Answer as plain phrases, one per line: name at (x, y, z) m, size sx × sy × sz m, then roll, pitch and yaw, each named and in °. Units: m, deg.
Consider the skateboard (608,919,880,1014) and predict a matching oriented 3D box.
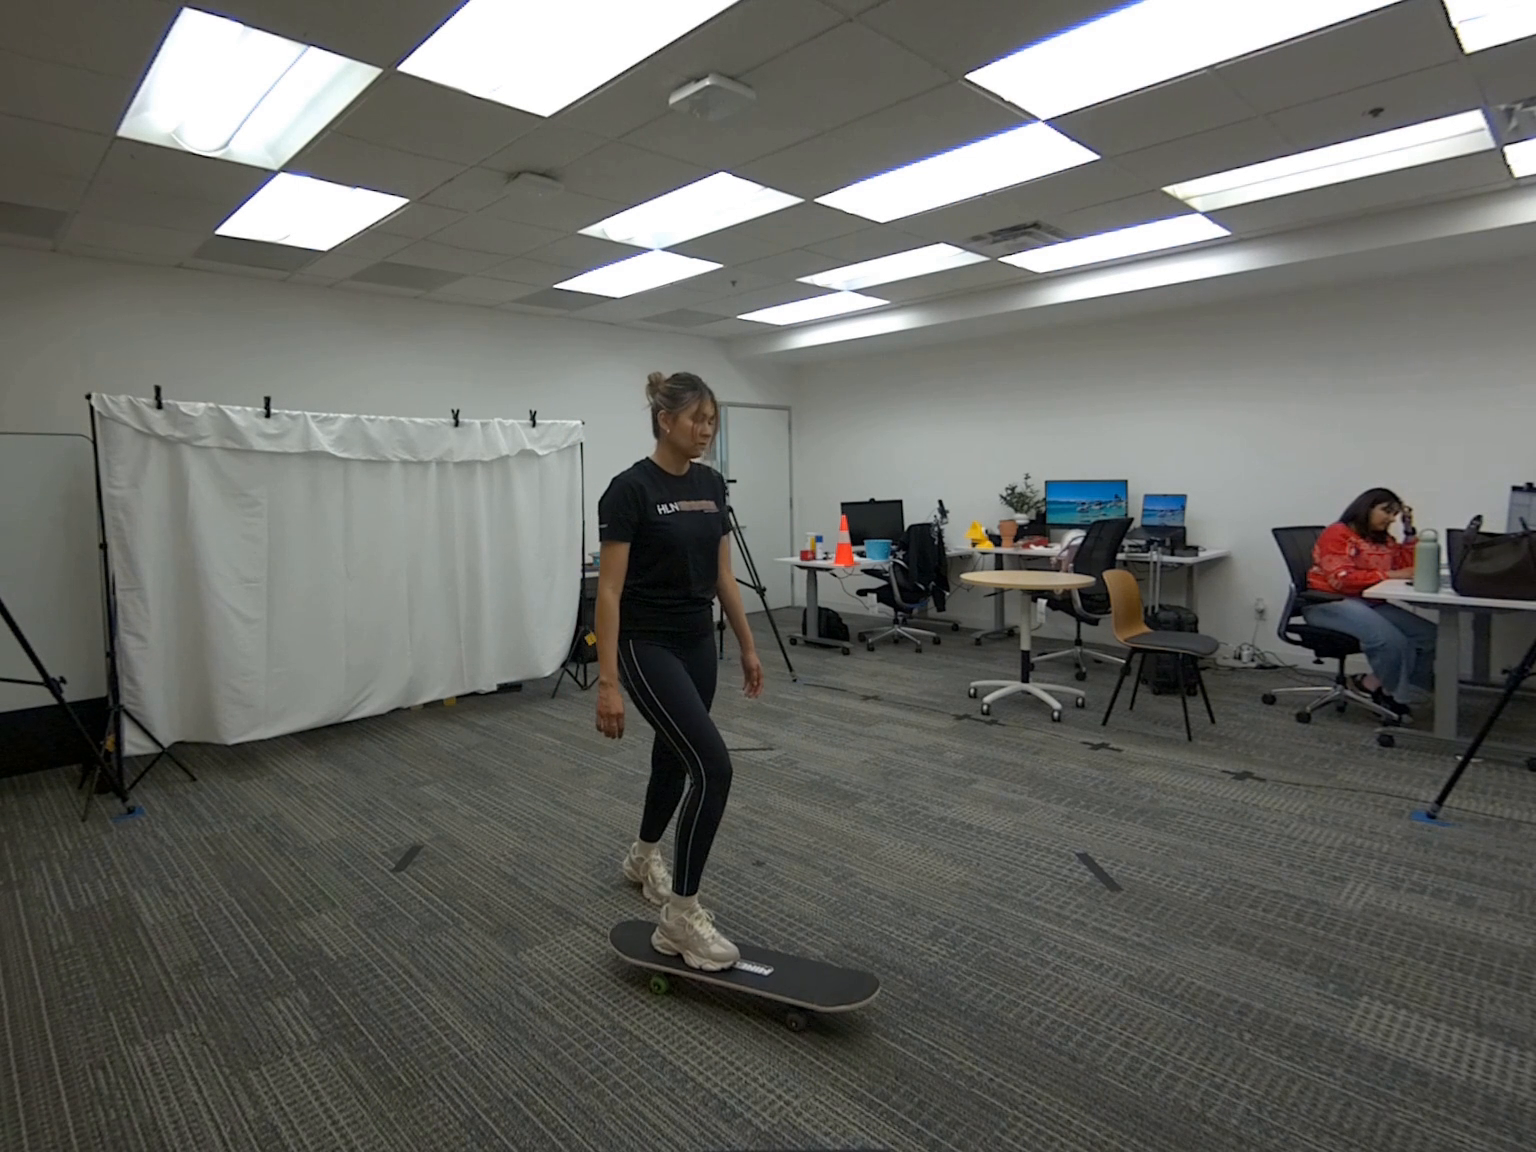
skateboard at (-0.079, 1.087, 2.324) m, size 0.803 × 0.110 × 0.190 m, roll 1°, pitch 6°, yaw 24°
